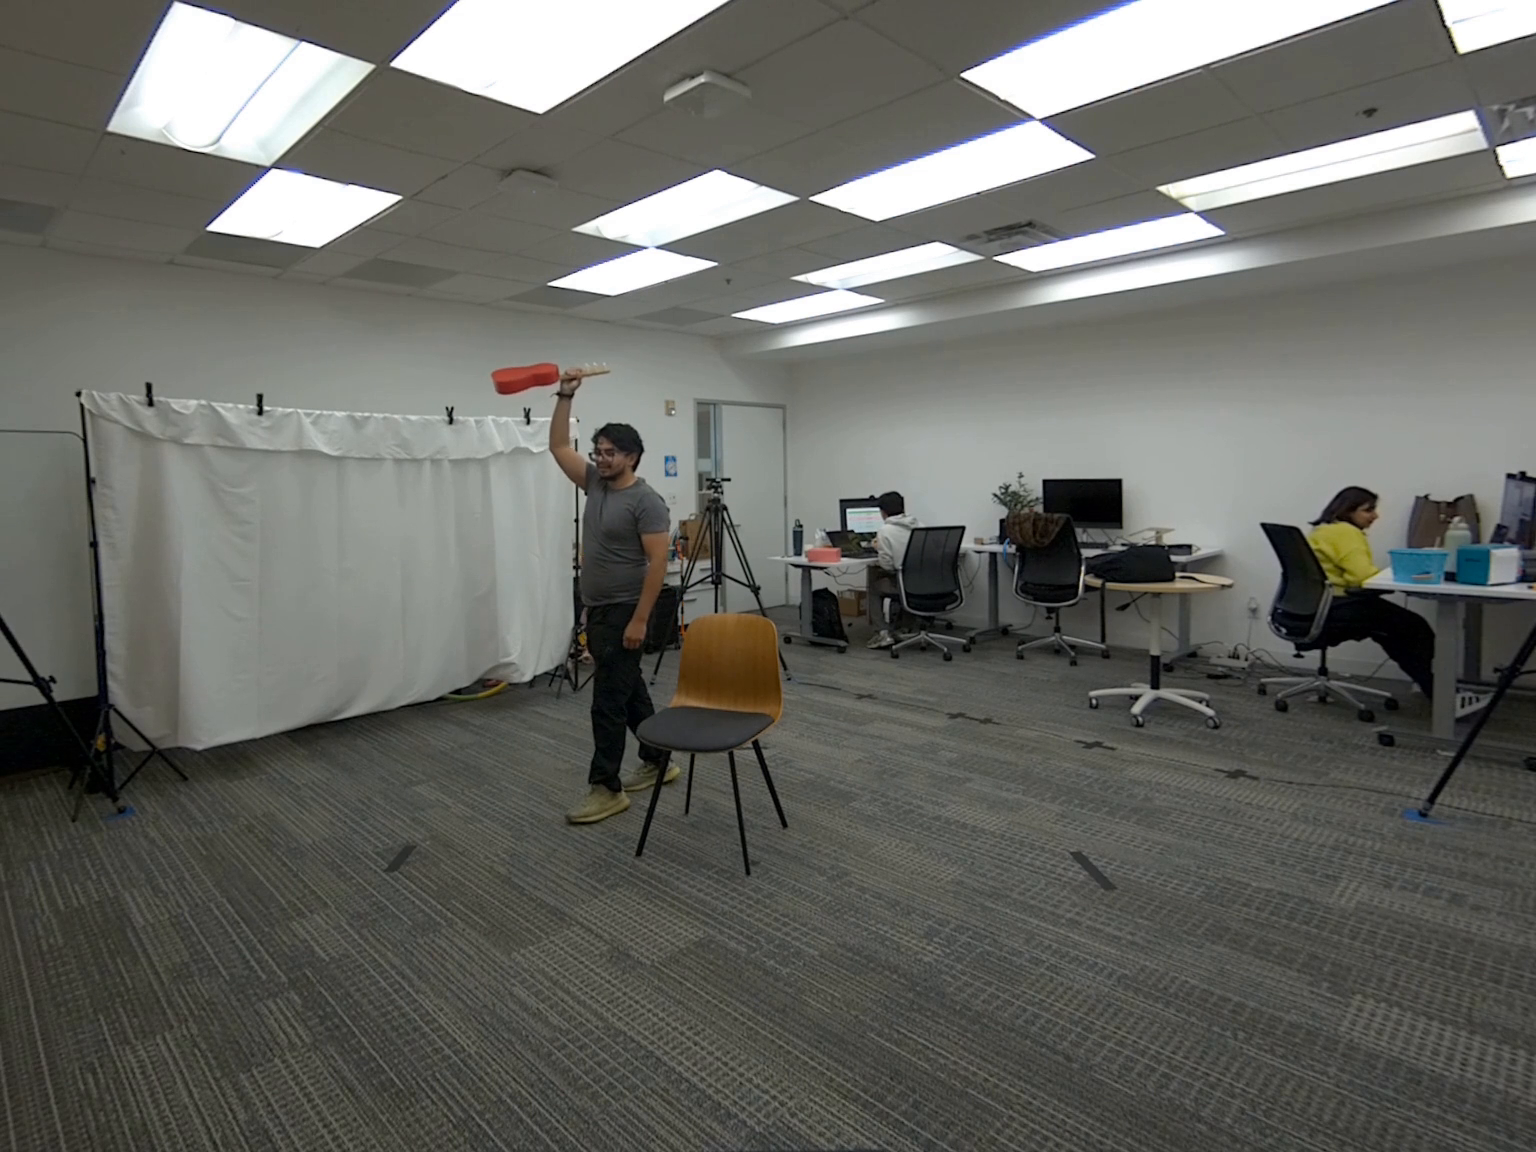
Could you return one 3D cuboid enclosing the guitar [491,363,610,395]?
[{"bbox_3d":[-0.937,-0.877,3.670,0.491,0.069,0.200,-19,32,-23],"label":"guitar"}]
